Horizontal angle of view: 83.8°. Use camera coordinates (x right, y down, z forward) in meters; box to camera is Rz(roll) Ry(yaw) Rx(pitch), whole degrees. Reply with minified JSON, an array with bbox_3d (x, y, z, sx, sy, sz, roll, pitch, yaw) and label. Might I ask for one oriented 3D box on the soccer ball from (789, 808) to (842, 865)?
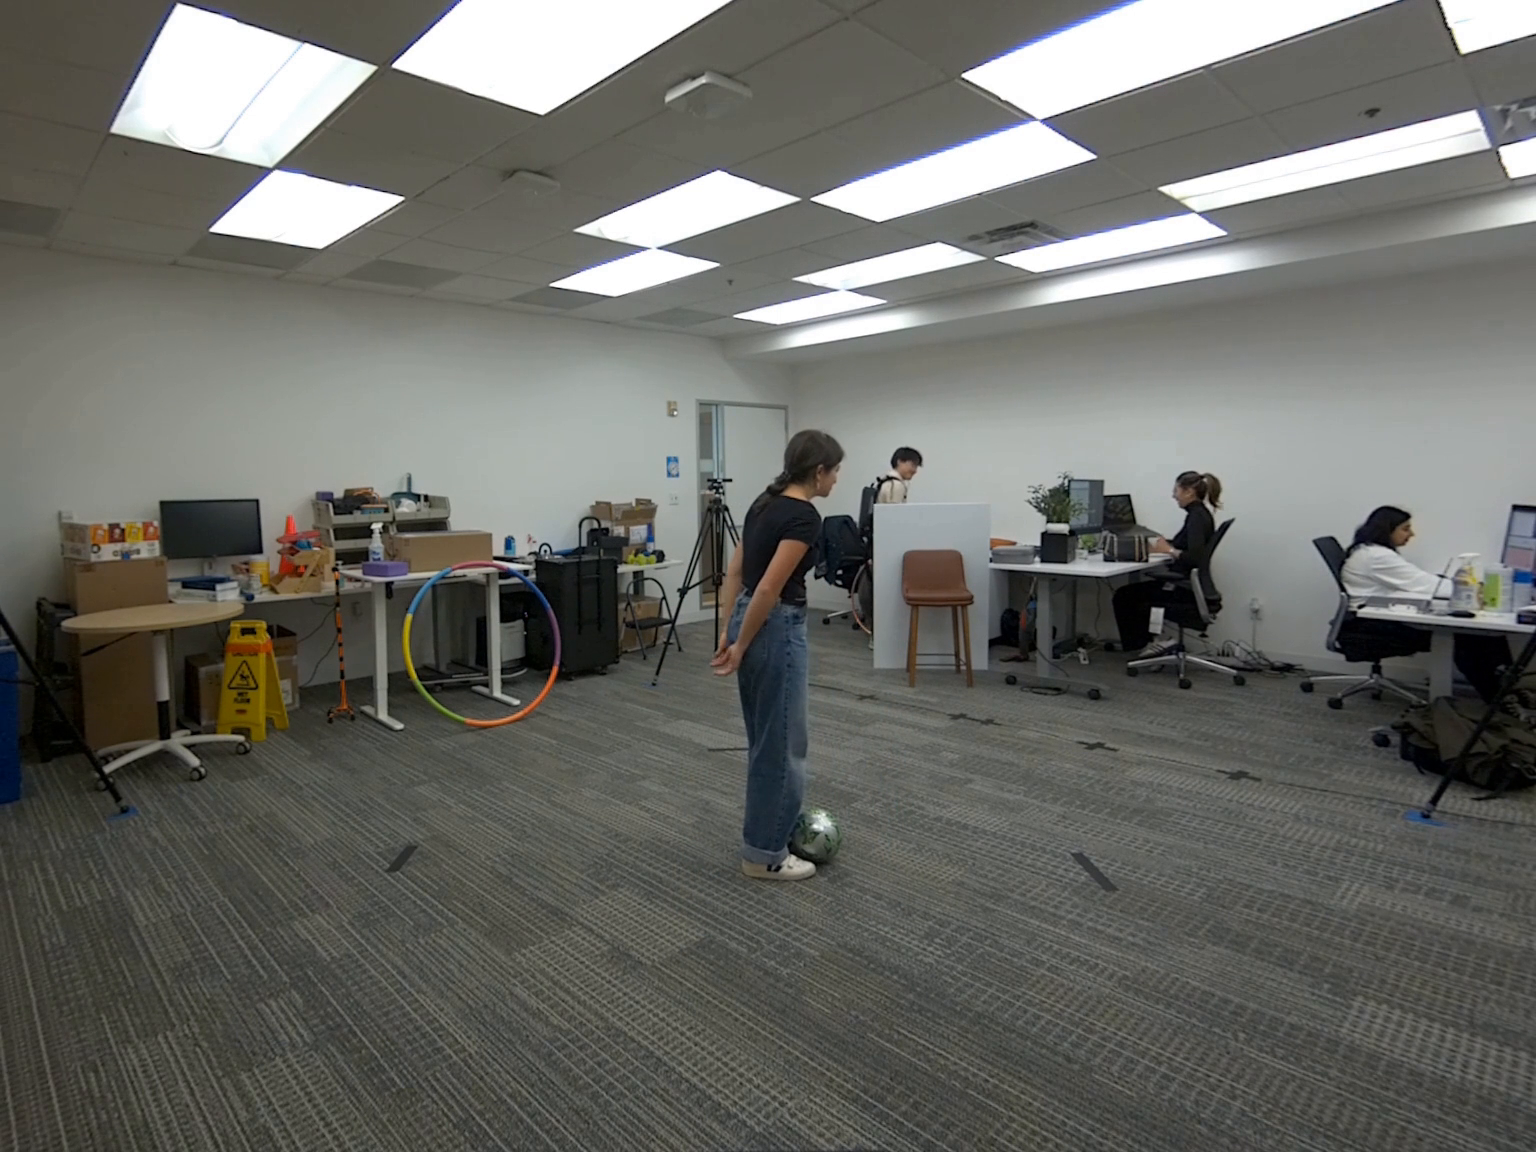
[{"bbox_3d":[0.174,0.940,3.113,0.187,0.187,0.188,-1,5,-2],"label":"soccer ball"}]
